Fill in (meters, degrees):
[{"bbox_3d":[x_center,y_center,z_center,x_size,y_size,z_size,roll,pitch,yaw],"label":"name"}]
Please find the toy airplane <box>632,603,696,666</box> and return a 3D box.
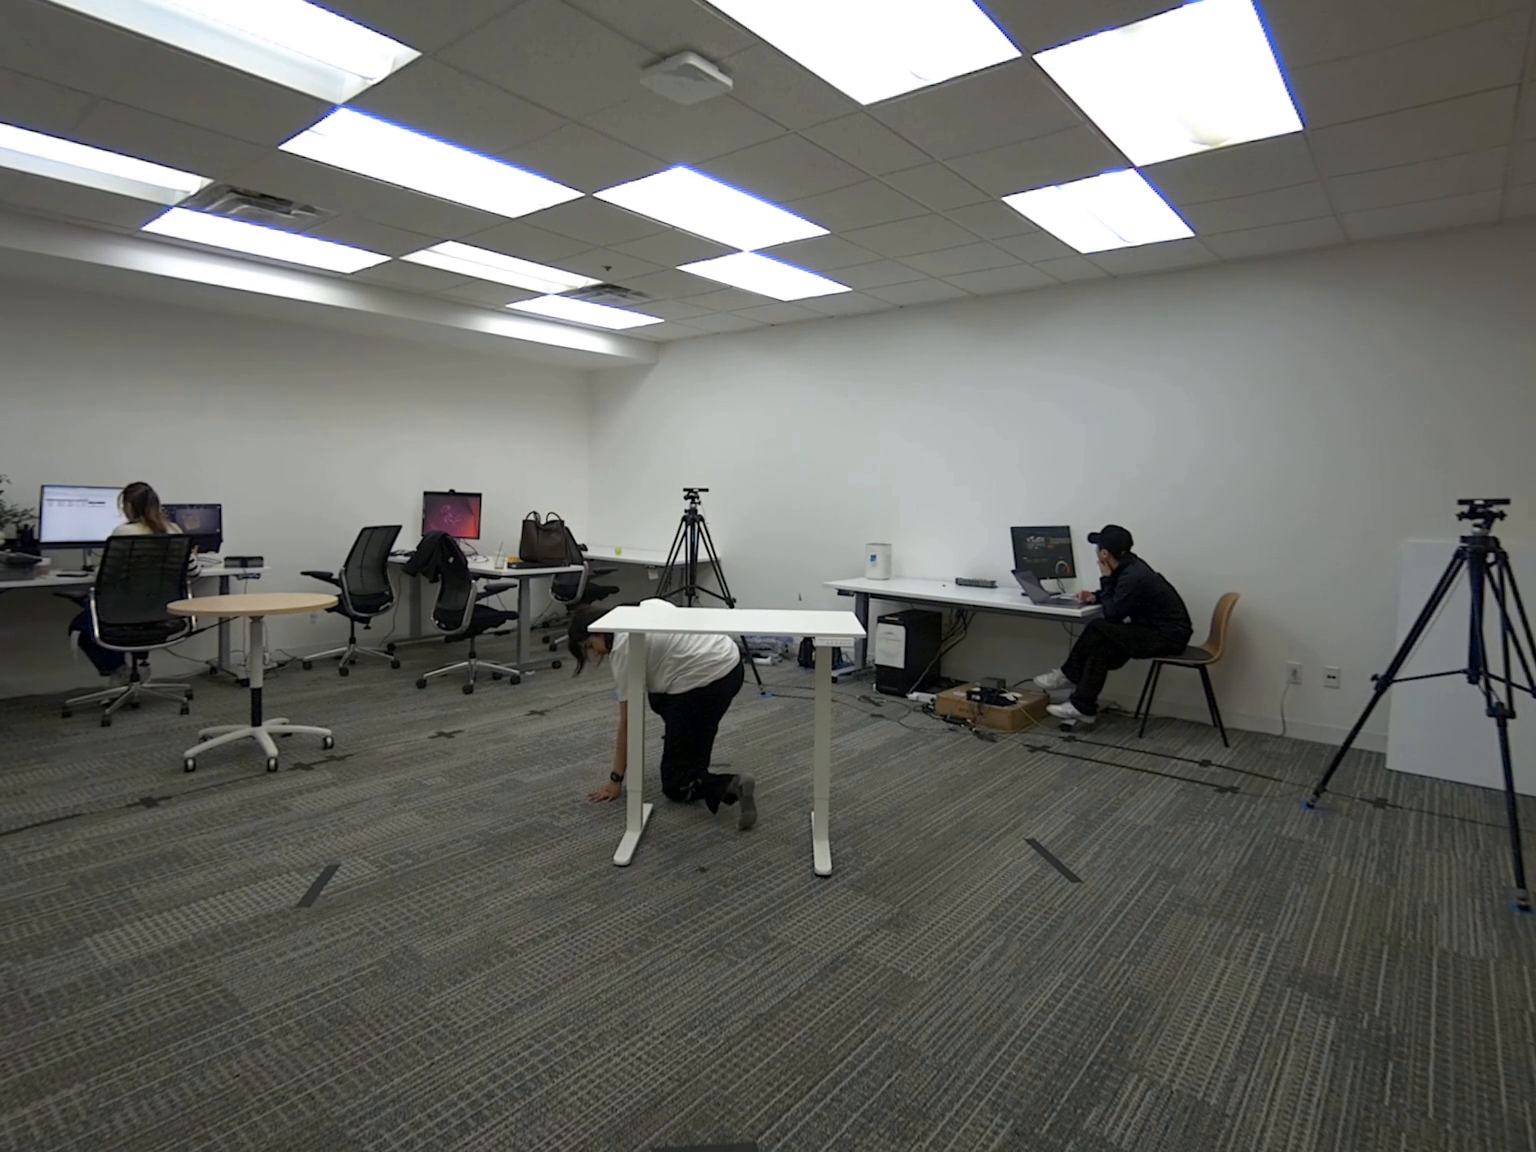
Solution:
[{"bbox_3d":[-0.495,0.315,4.106,0.259,0.150,0.261,-26,39,2],"label":"toy airplane"}]
